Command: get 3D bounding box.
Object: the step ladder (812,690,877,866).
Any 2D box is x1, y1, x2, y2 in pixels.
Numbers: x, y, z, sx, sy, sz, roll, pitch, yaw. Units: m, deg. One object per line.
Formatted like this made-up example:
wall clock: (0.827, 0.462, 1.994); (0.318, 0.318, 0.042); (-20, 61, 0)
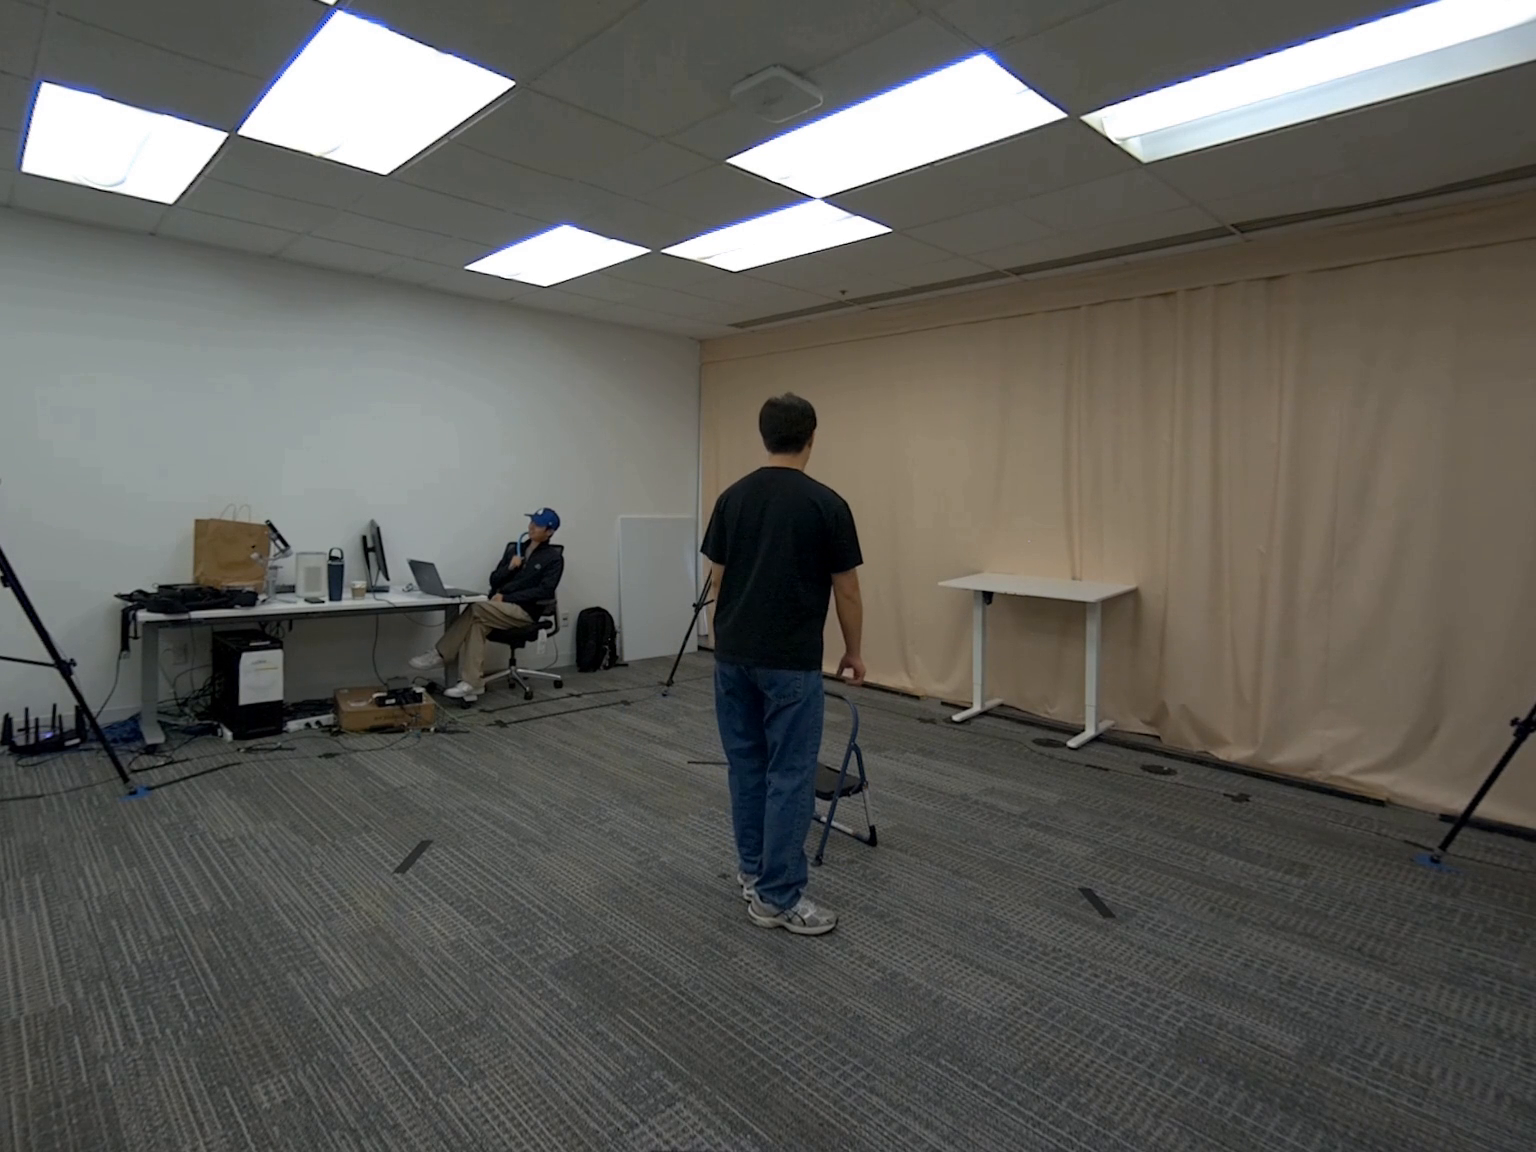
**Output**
step ladder: (0.188, 0.782, 3.461); (0.341, 0.605, 0.441); (-1, 4, -38)
